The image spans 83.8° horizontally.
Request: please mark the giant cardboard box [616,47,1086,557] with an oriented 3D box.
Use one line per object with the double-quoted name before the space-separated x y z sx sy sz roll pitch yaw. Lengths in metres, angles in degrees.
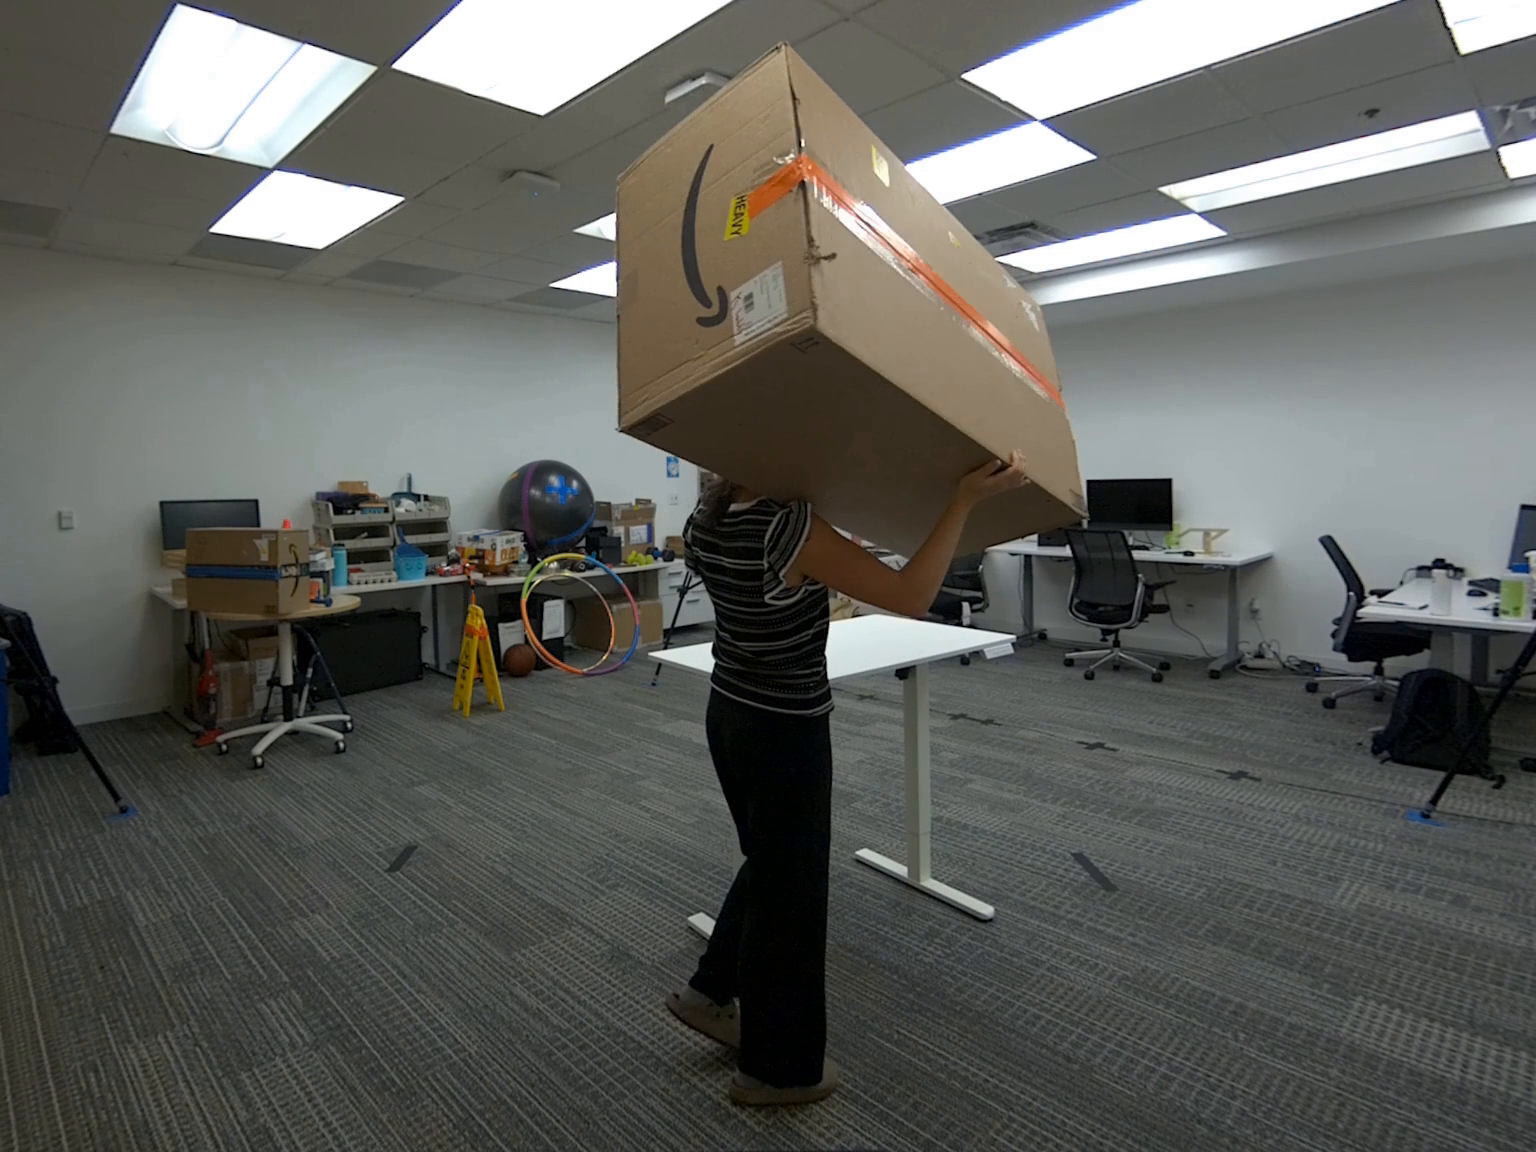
"giant cardboard box" 0.213 -0.452 1.787 0.433 0.589 0.989 -21 -26 37
